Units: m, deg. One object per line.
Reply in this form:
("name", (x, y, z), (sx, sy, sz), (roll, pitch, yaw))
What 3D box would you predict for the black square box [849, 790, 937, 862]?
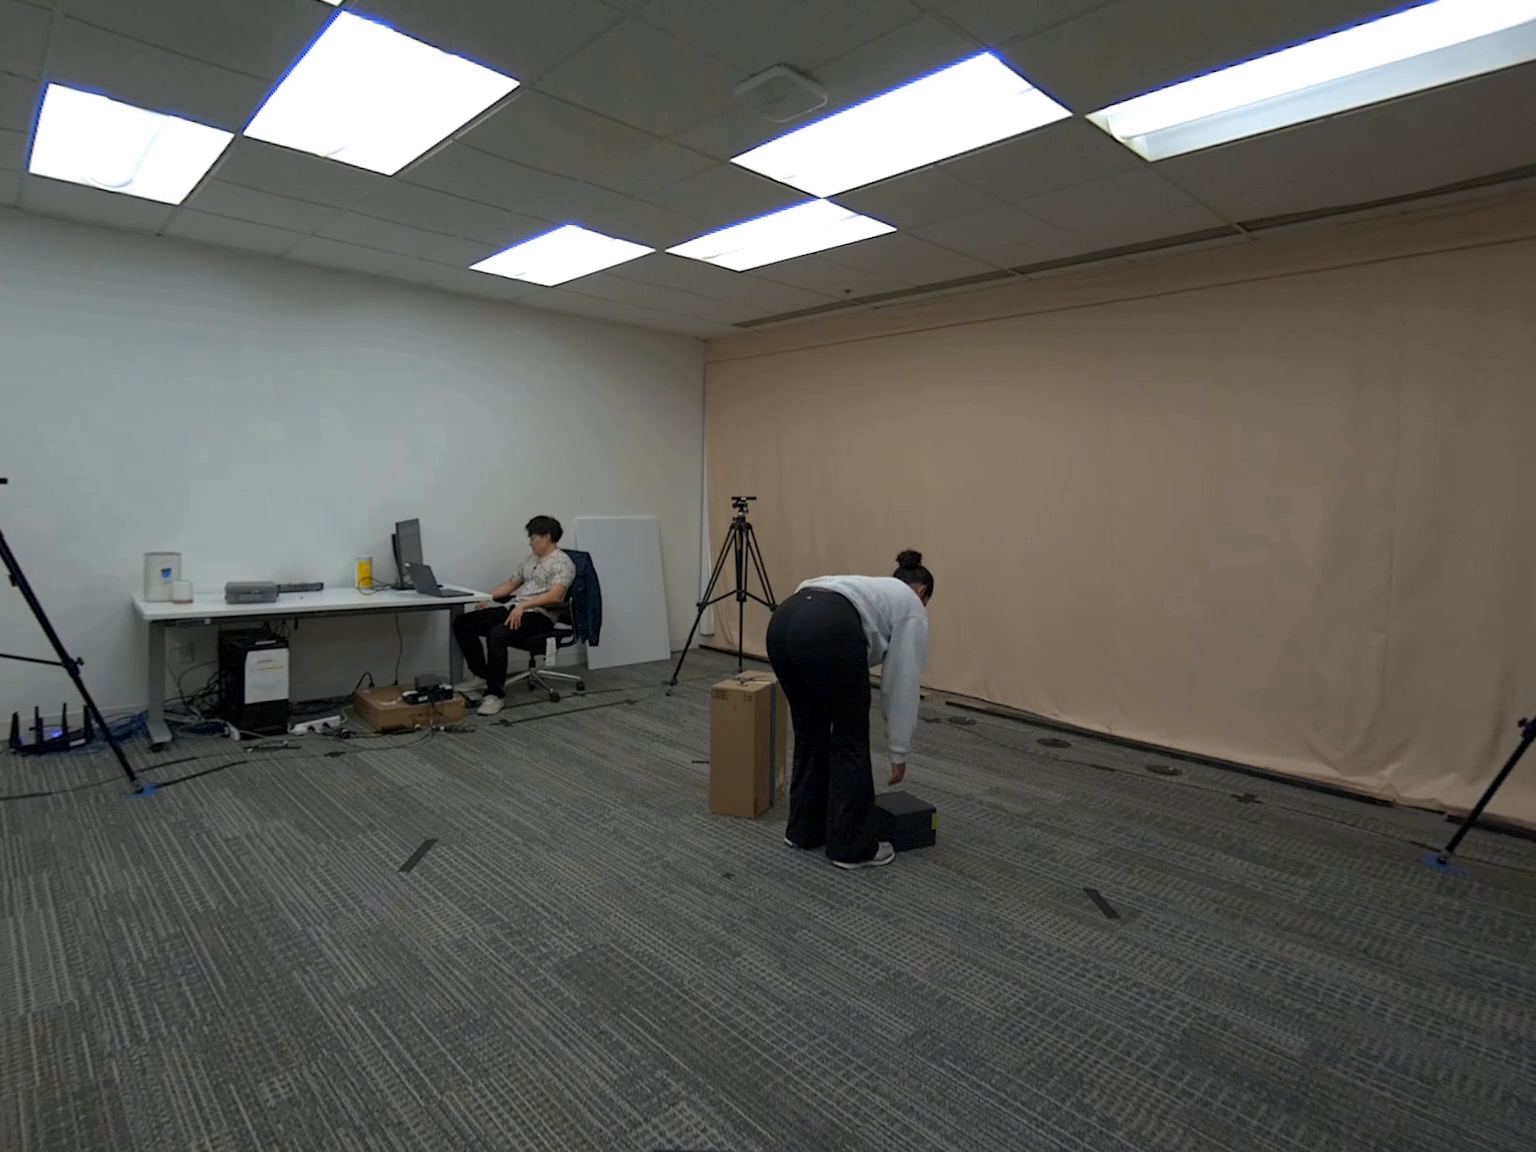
("black square box", (0.529, 1.003, 3.479), (0.213, 0.155, 0.233), (0, 4, -28))
